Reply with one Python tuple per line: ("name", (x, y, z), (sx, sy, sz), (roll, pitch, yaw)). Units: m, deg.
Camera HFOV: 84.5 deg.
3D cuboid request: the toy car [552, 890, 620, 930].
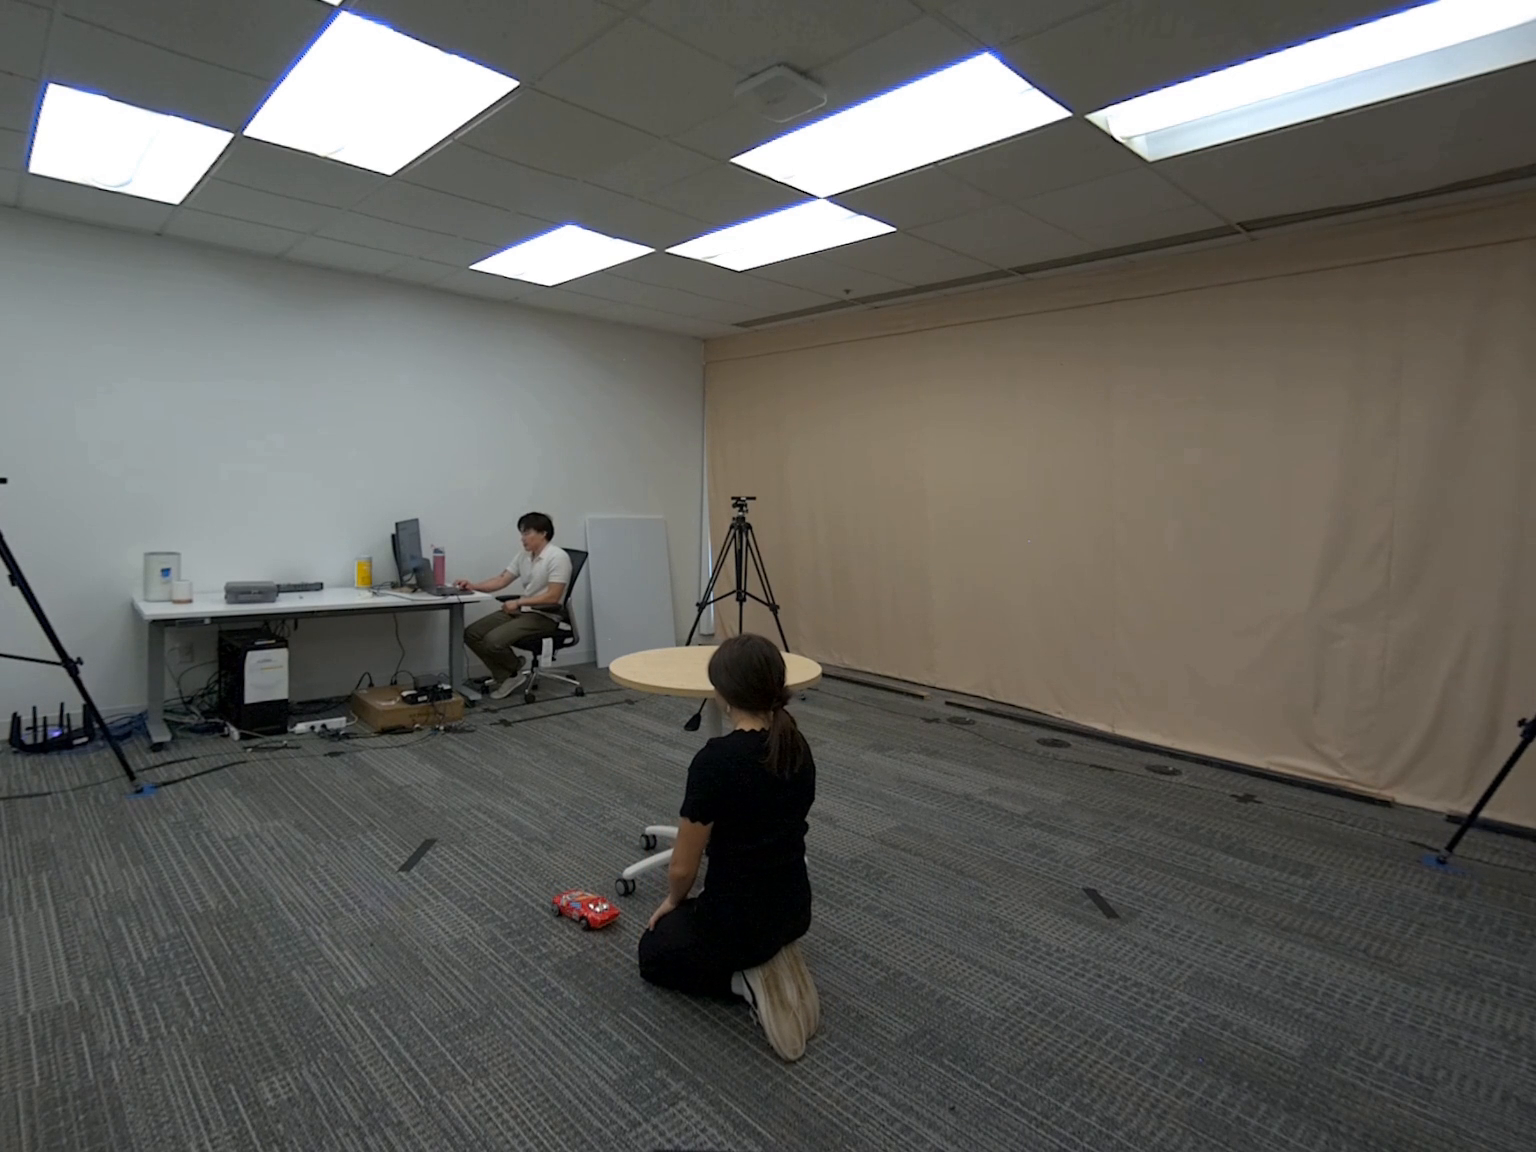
("toy car", (-0.600, 1.099, 2.752), (0.259, 0.083, 0.127), (-9, -4, 39))
